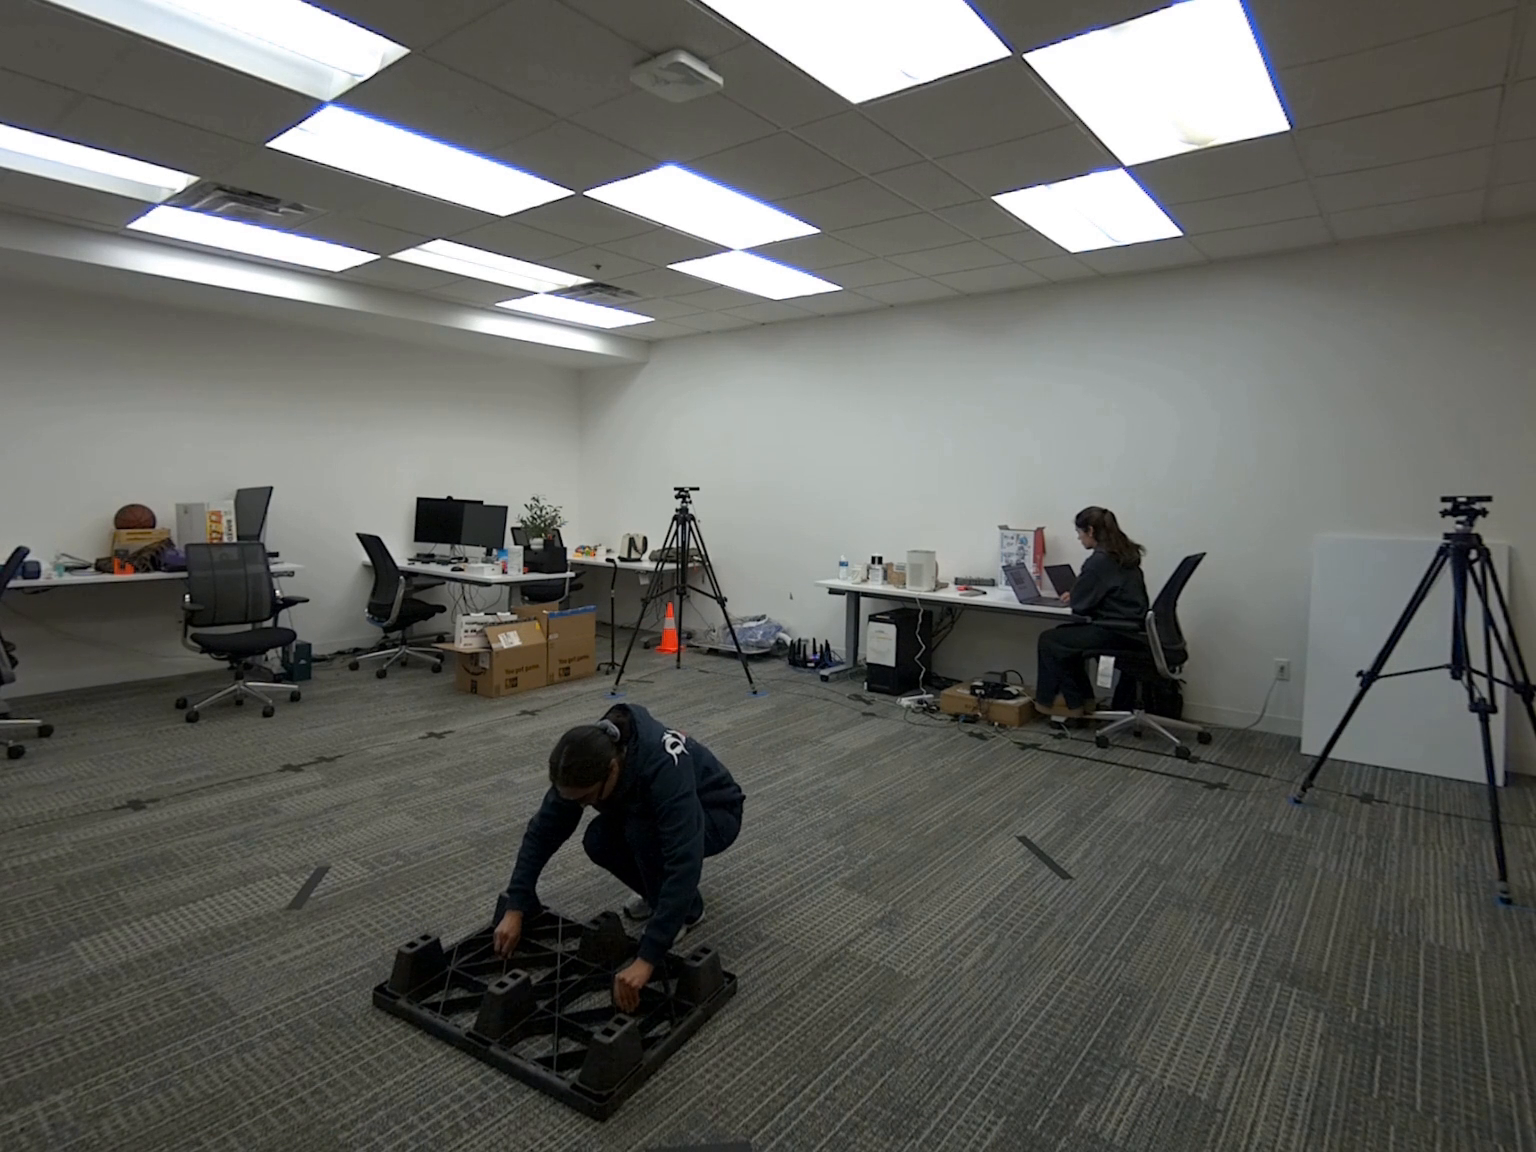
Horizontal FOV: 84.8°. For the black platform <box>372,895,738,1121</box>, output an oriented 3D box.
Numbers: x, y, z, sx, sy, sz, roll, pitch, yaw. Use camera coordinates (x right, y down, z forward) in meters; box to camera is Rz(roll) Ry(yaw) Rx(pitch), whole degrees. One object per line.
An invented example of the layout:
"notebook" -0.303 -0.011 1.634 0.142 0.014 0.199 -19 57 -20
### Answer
"black platform" -0.578 1.078 2.307 0.829 0.143 0.590 4 7 30
